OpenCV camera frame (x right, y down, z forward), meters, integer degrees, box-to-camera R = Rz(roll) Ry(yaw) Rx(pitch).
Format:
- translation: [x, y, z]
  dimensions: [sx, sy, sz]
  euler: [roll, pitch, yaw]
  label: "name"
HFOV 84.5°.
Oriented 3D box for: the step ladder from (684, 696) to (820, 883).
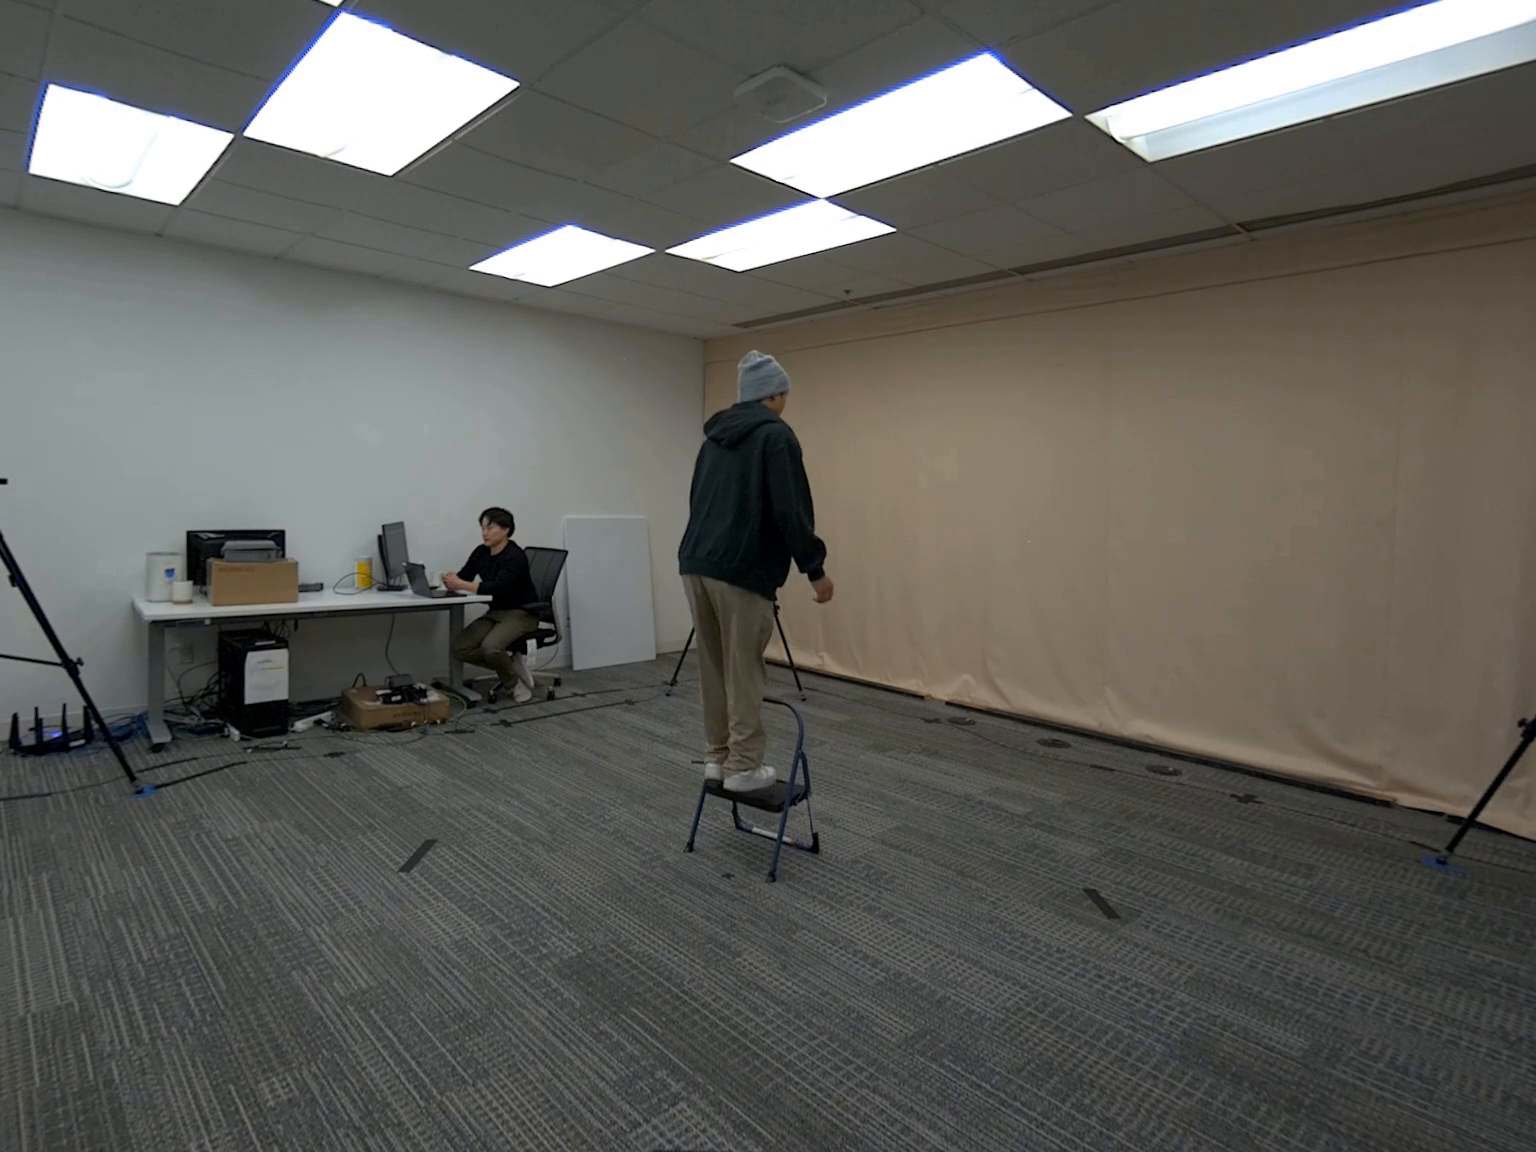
- translation: [-0.055, 0.789, 3.308]
  dimensions: [0.441, 0.605, 0.341]
  euler: [4, 4, 36]
  label: "step ladder"
